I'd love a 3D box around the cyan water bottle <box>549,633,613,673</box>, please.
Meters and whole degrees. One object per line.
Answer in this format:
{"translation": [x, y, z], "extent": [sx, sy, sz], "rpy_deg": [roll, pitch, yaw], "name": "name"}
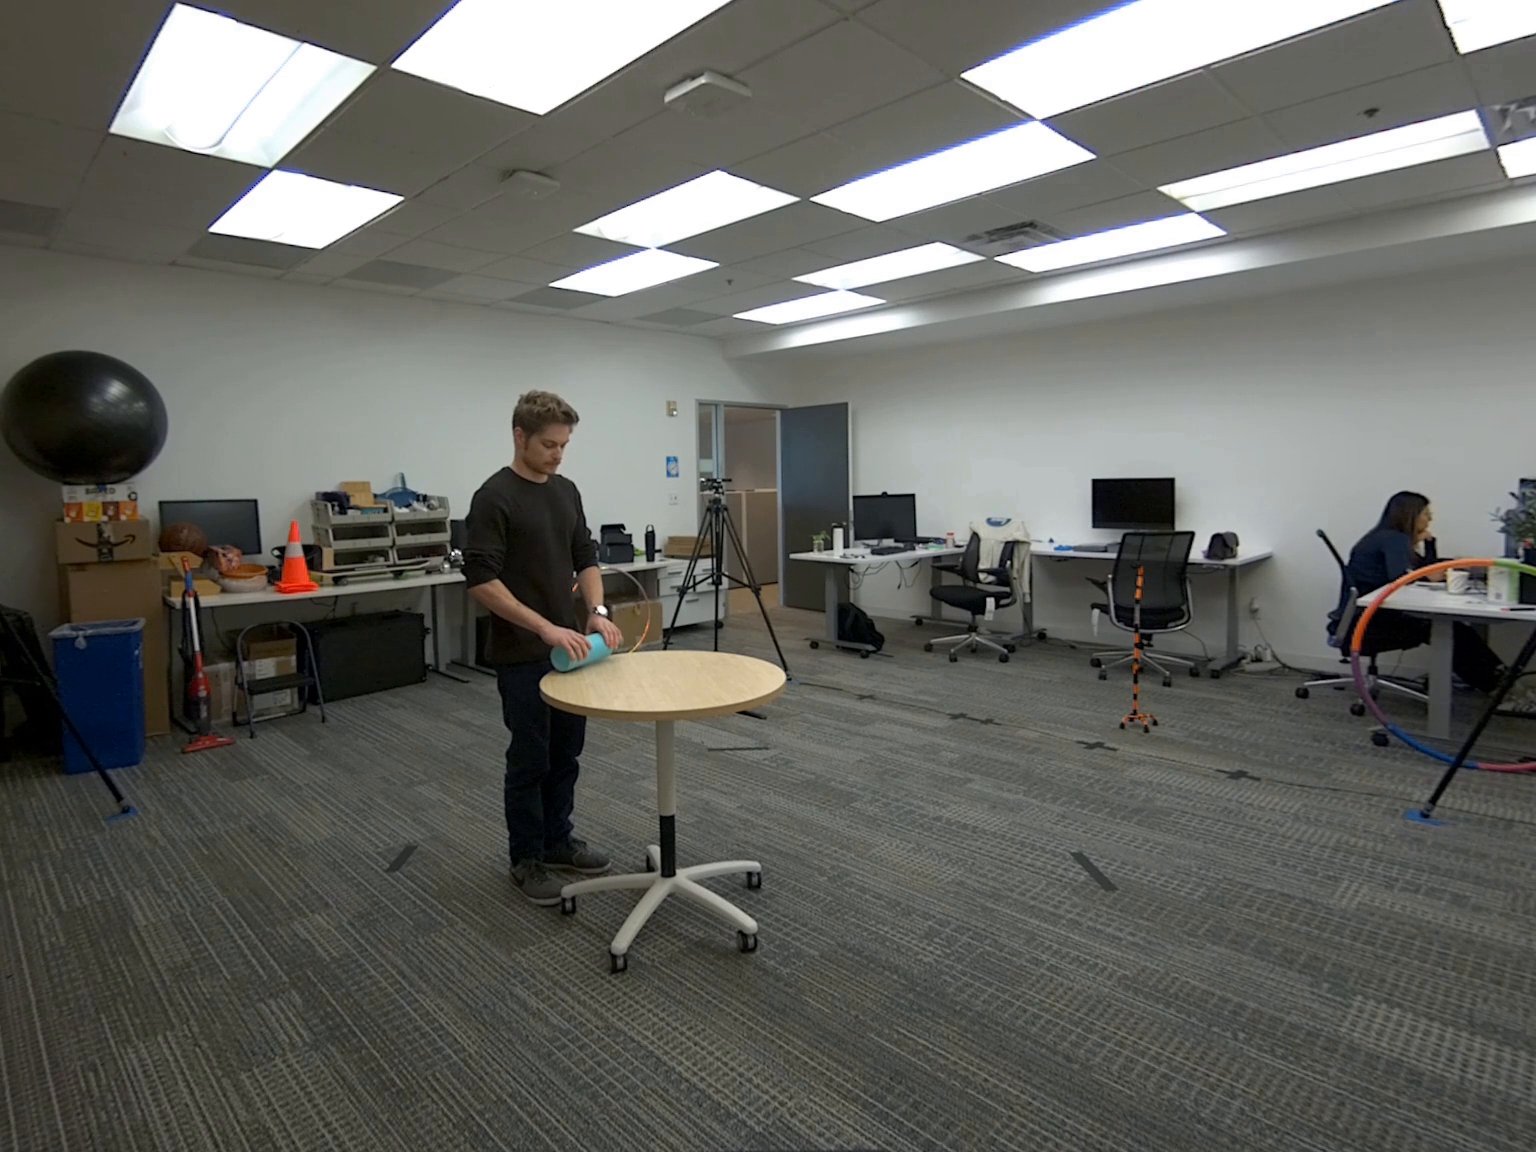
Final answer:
{"translation": [-0.602, 0.242, 2.851], "extent": [0.094, 0.092, 0.278], "rpy_deg": [2, 8, 28], "name": "cyan water bottle"}
